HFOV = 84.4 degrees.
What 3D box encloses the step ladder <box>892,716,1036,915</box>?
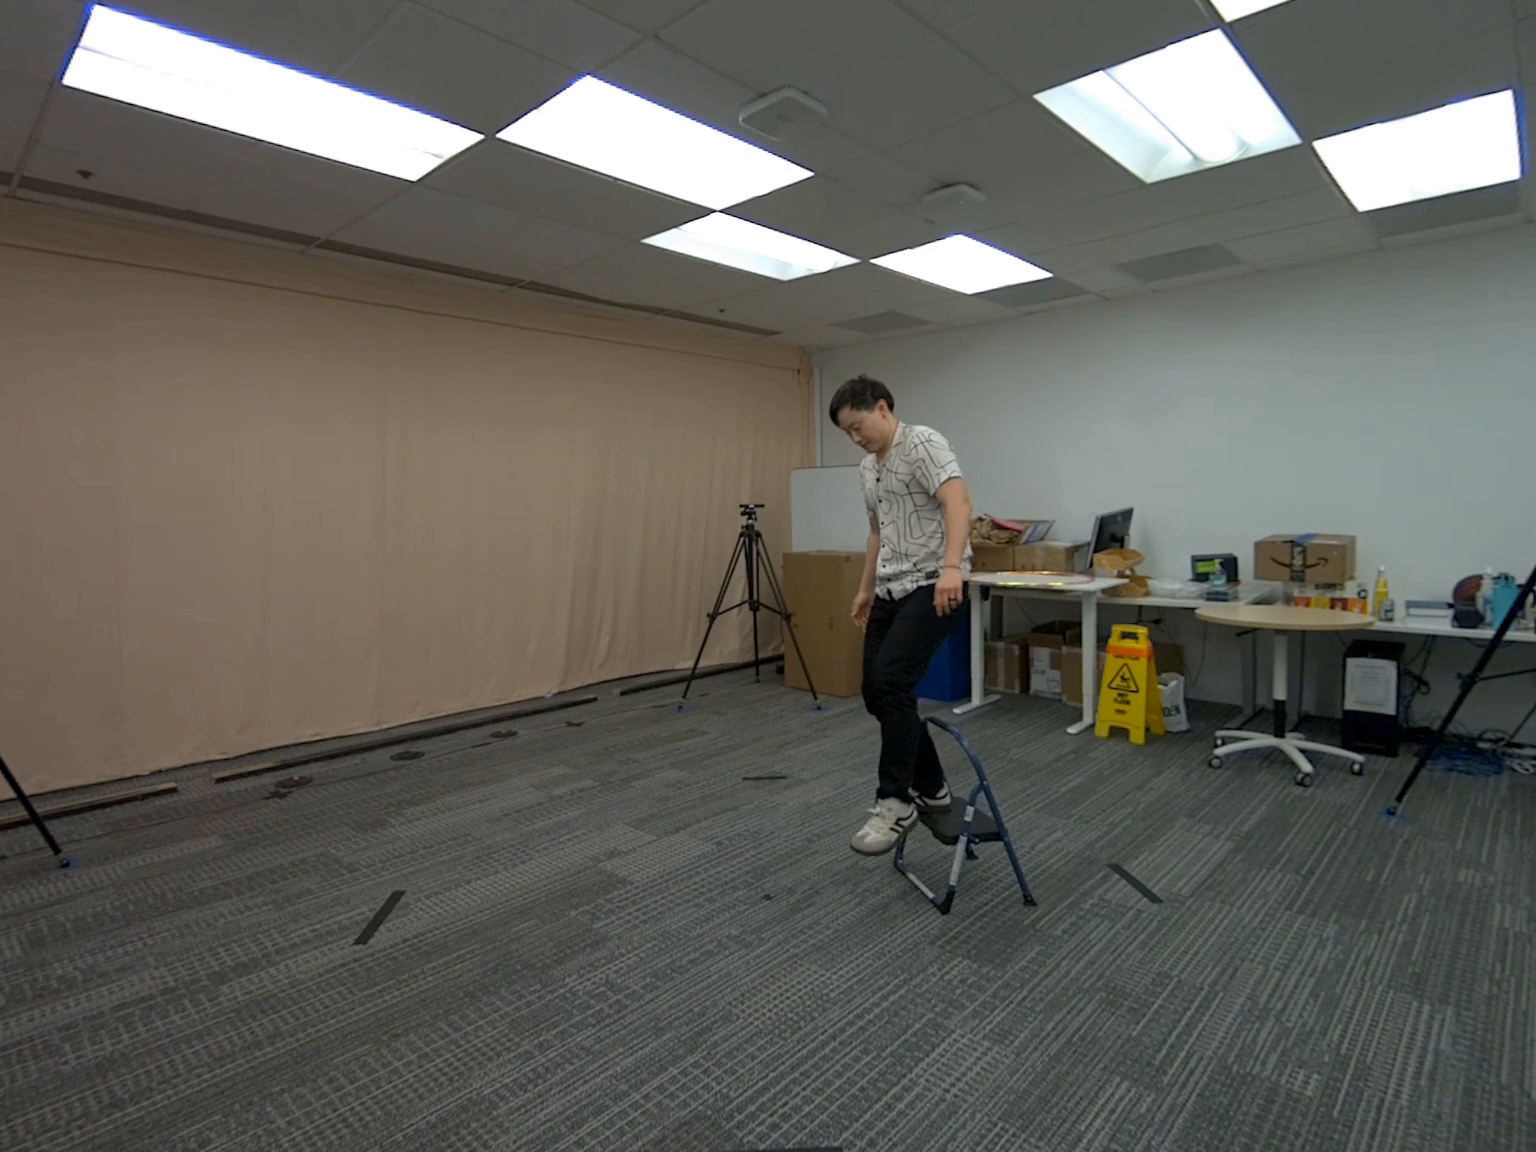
[{"bbox_3d":[0.701,0.823,3.051,0.344,0.605,0.438,-2,3,-15],"label":"step ladder"}]
